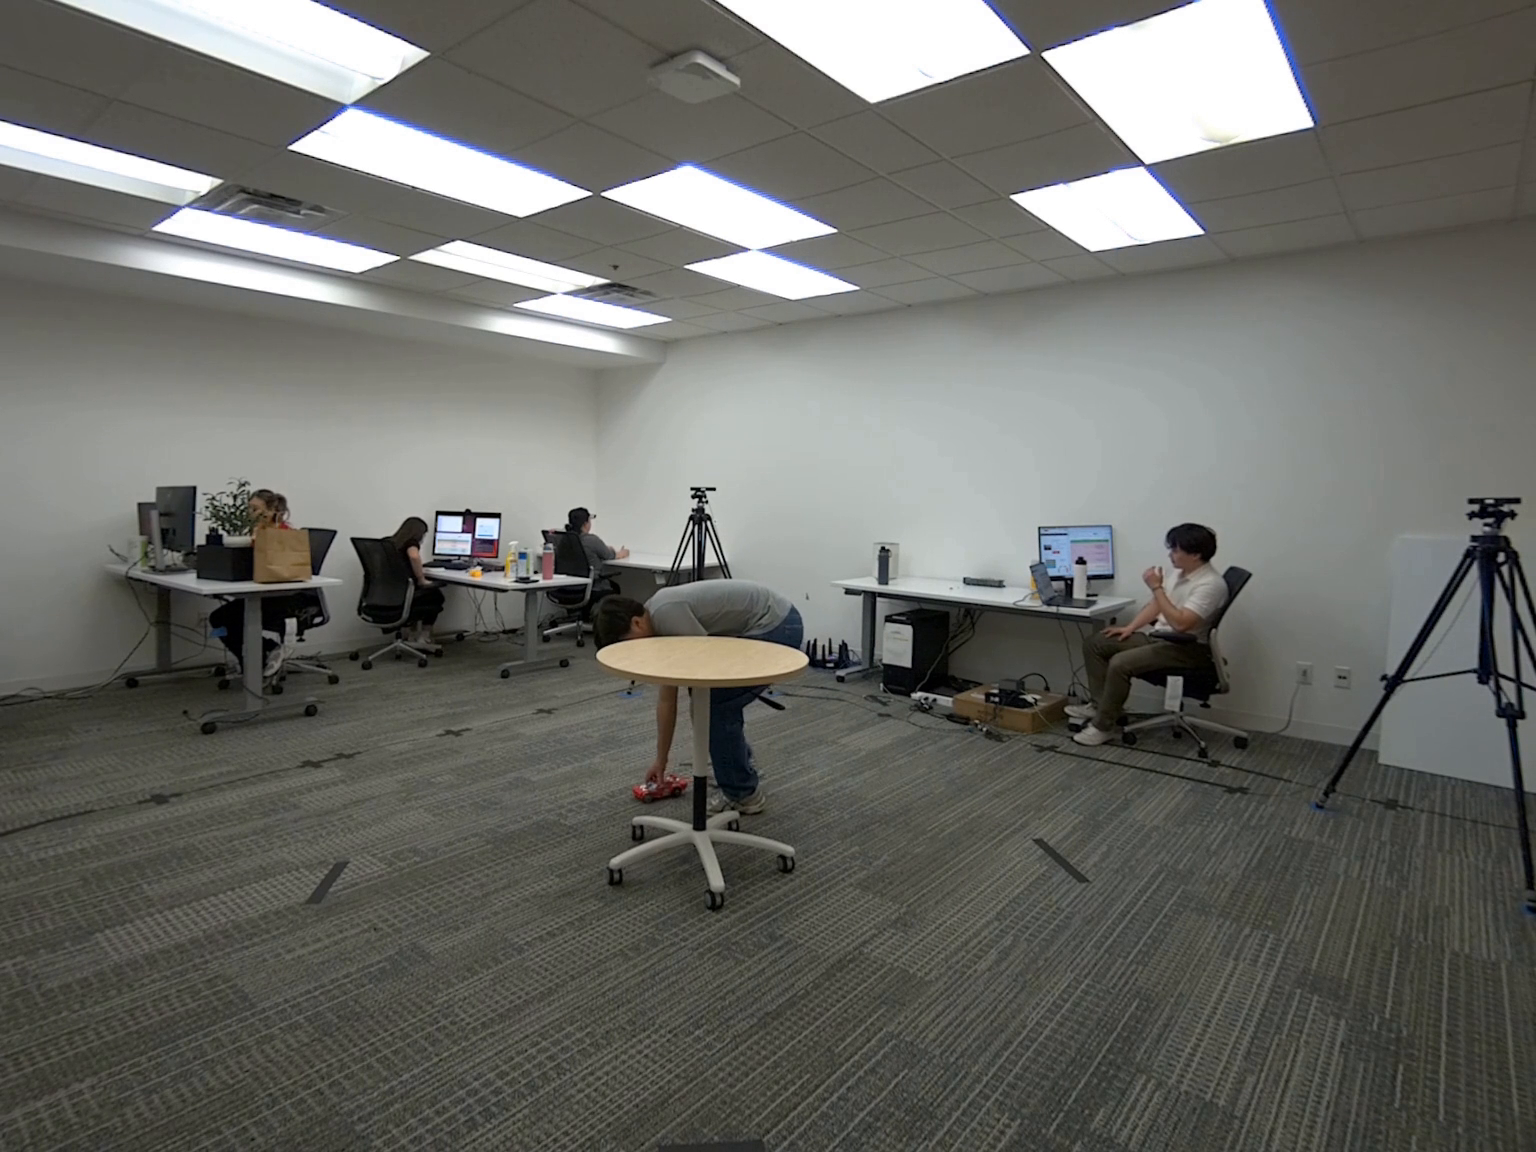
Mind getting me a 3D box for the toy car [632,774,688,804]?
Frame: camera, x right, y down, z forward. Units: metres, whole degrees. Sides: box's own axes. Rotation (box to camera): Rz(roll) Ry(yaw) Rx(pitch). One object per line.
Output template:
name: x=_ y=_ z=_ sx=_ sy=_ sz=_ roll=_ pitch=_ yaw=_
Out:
toy car: x=-0.491 y=0.960 z=3.844 sx=0.249 sy=0.082 sz=0.134 roll=-16 pitch=12 yaw=-30
